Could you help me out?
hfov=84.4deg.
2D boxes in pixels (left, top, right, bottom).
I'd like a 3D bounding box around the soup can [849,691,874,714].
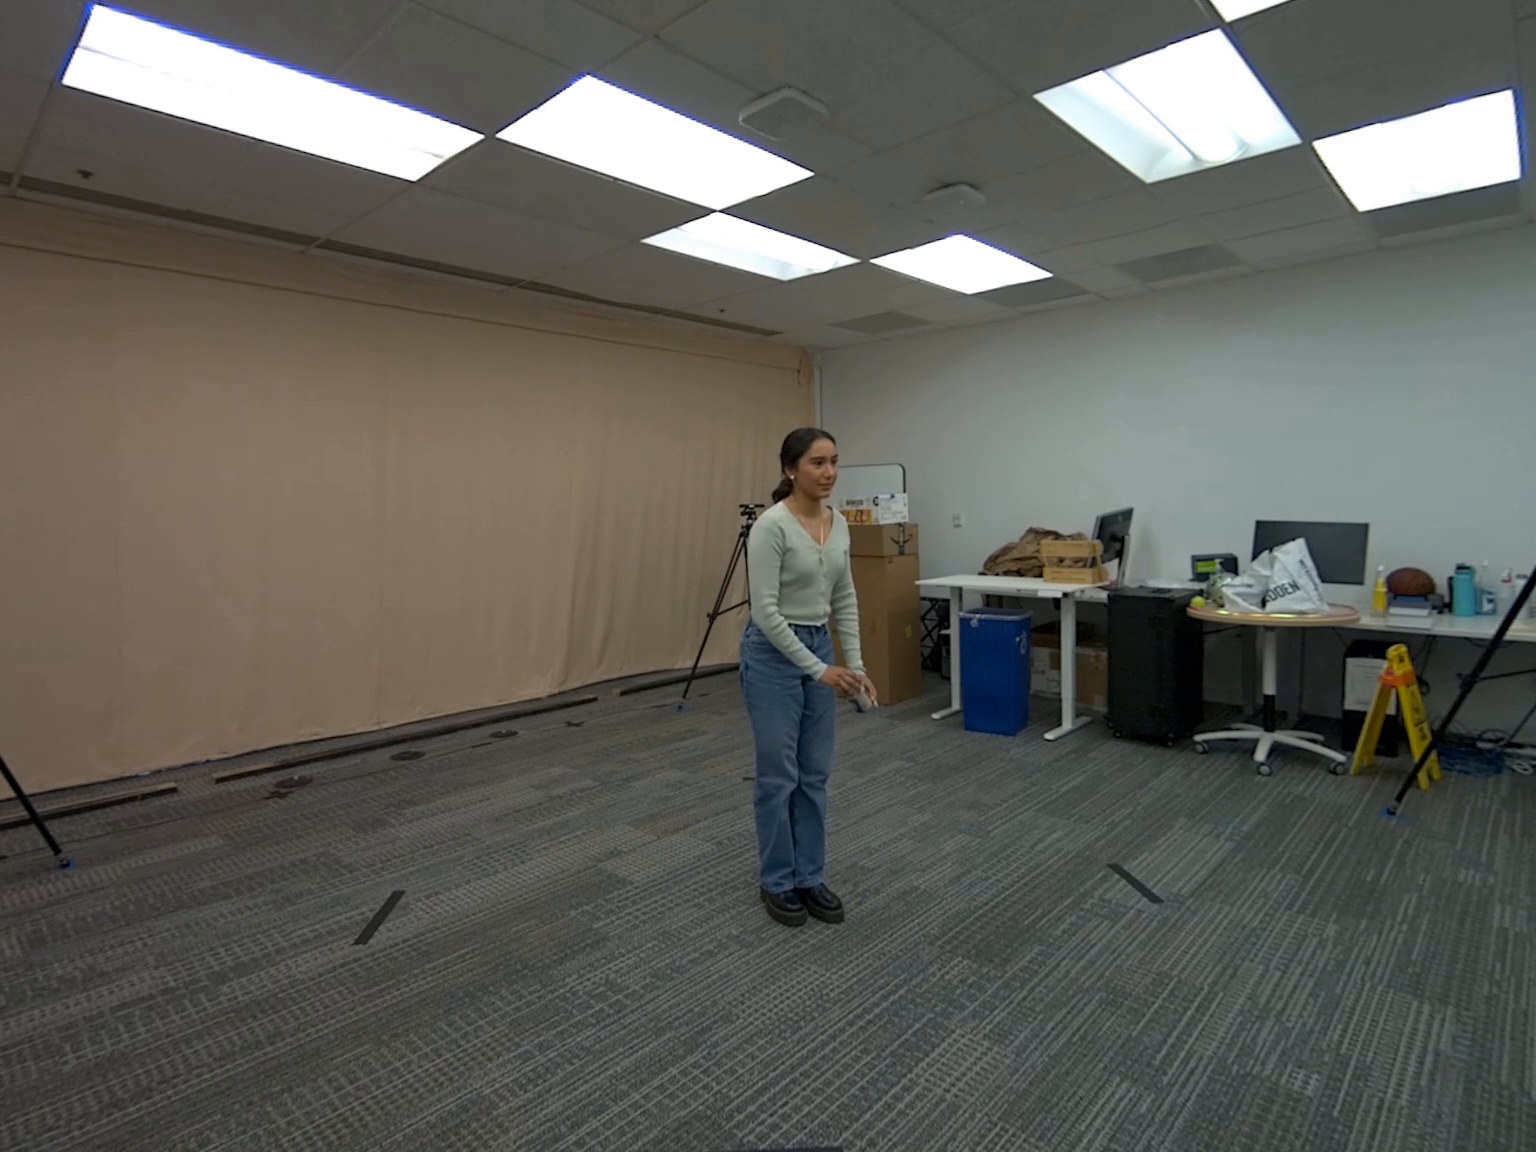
[{"bbox_3d":[0.298,0.380,2.725,0.067,0.120,0.068,-33,14,8],"label":"soup can"}]
